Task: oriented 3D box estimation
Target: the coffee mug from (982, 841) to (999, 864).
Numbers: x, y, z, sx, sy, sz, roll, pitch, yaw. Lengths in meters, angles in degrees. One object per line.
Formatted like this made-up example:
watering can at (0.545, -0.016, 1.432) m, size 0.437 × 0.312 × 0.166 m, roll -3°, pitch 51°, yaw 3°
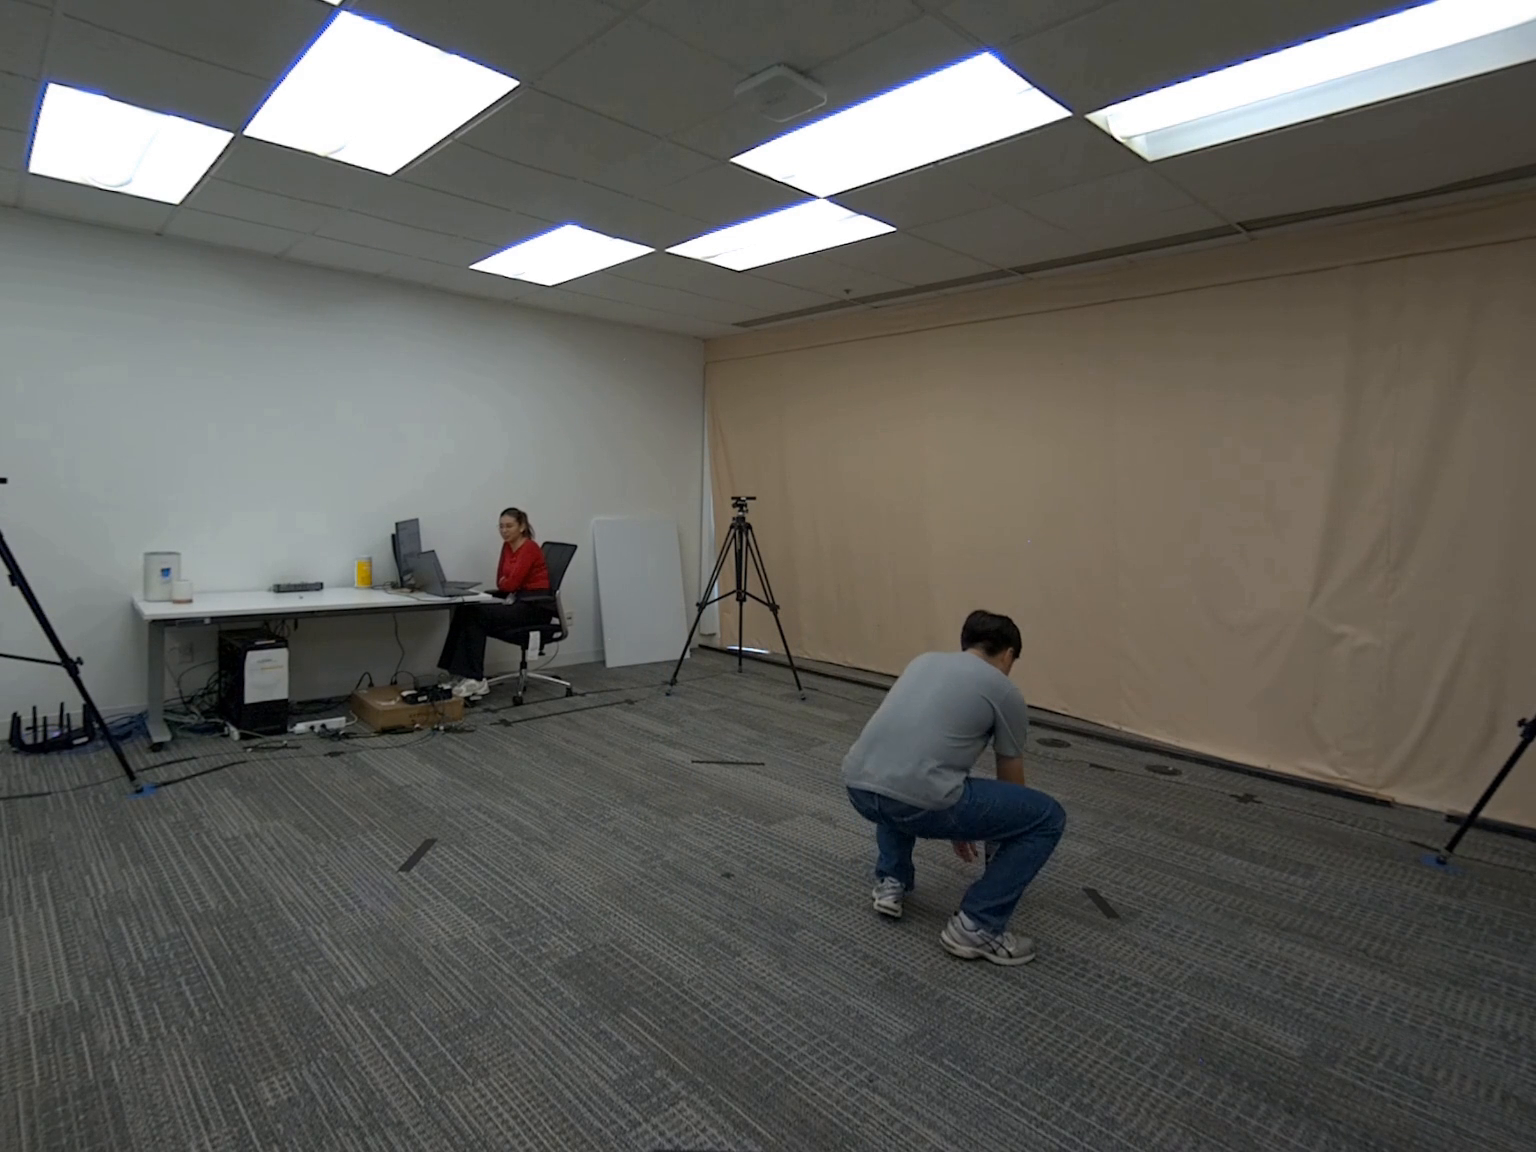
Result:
coffee mug at (0.847, 1.045, 3.049) m, size 0.120 × 0.202 × 0.089 m, roll -2°, pitch 4°, yaw -22°
